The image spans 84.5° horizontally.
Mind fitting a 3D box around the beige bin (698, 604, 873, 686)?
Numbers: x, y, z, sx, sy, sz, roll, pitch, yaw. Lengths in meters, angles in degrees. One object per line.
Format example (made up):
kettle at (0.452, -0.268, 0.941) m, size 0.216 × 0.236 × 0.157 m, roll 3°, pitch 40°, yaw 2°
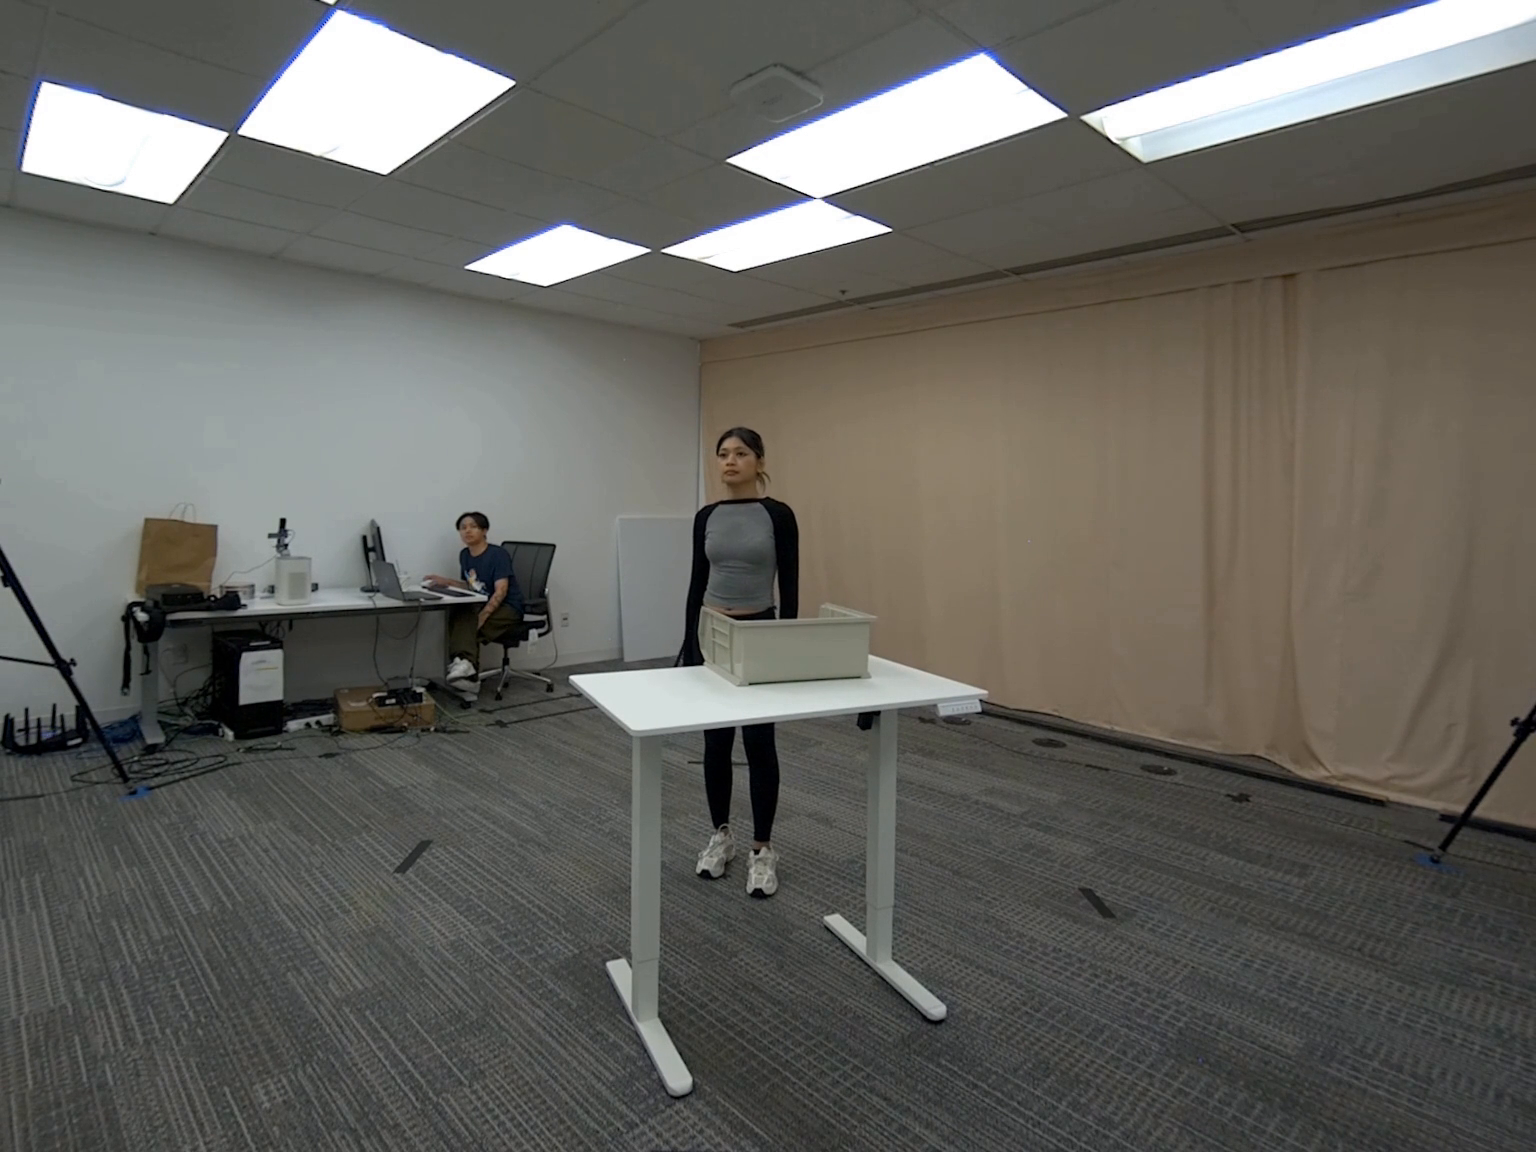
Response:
beige bin at (0.041, 0.196, 2.505) m, size 0.416 × 0.188 × 0.384 m, roll 0°, pitch 6°, yaw -21°
